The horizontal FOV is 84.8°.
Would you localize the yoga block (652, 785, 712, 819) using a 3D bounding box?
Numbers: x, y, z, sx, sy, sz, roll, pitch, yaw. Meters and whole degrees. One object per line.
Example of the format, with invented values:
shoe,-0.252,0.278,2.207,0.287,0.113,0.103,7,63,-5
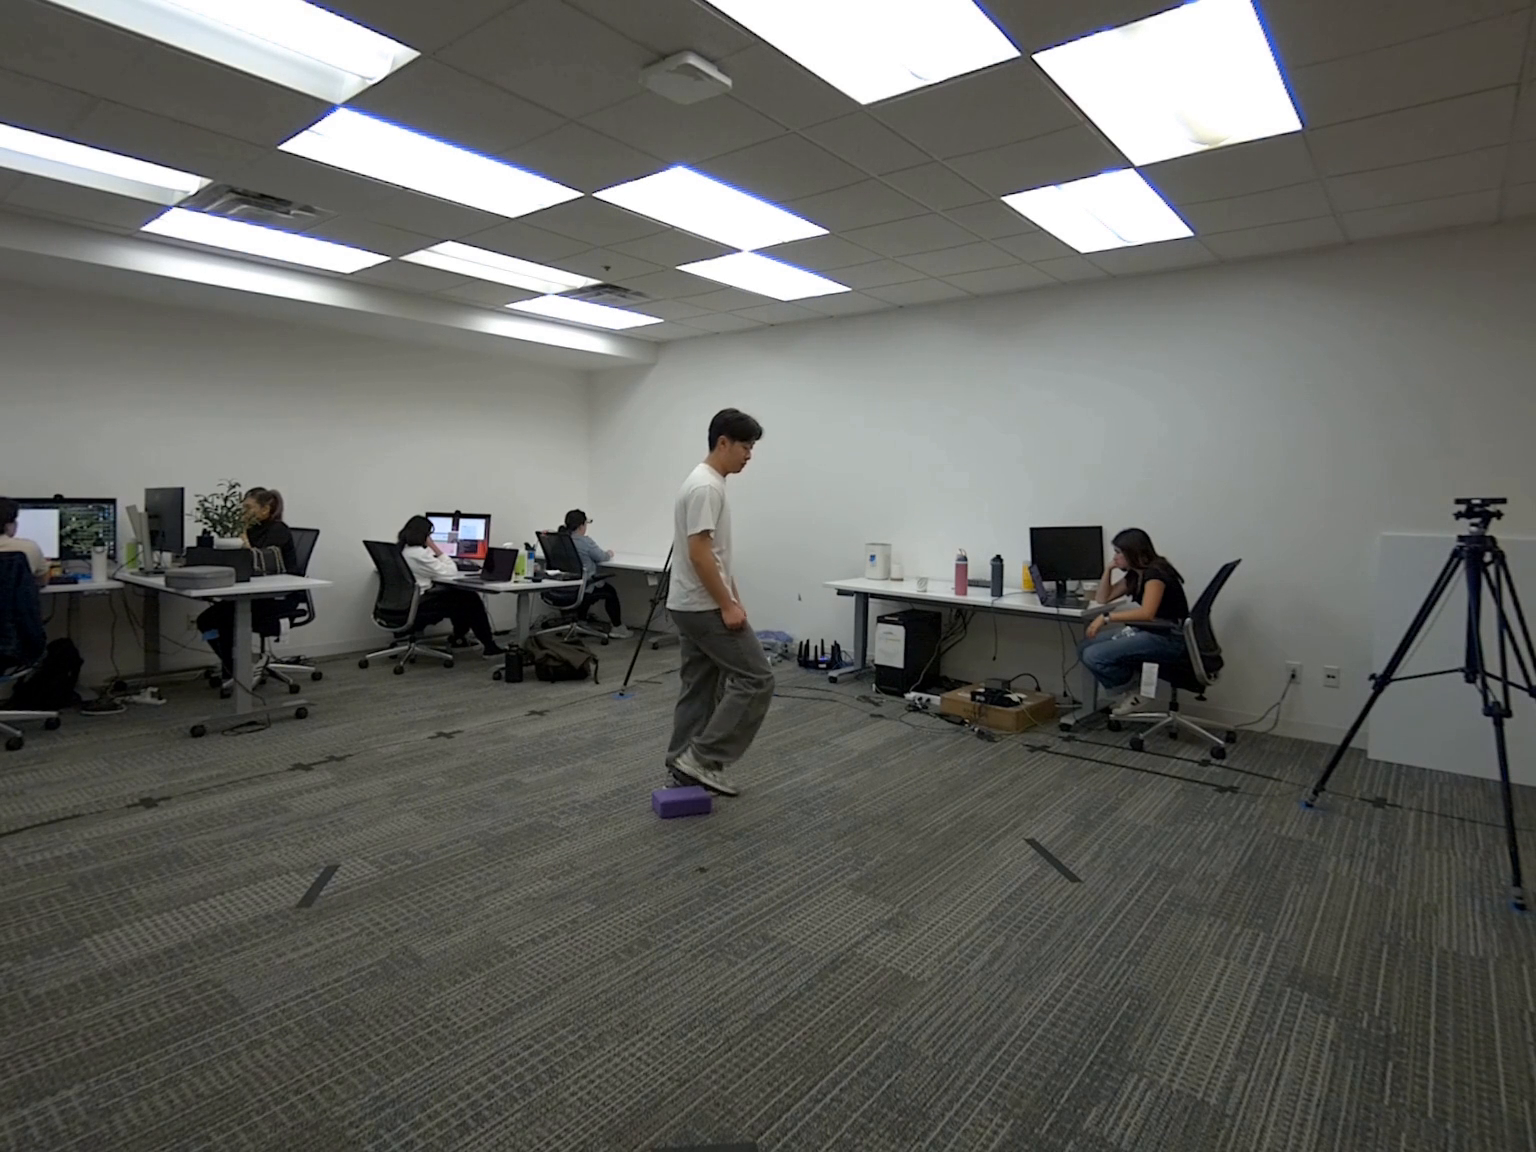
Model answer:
yoga block,-0.376,0.967,3.684,0.225,0.076,0.152,-2,5,-20
